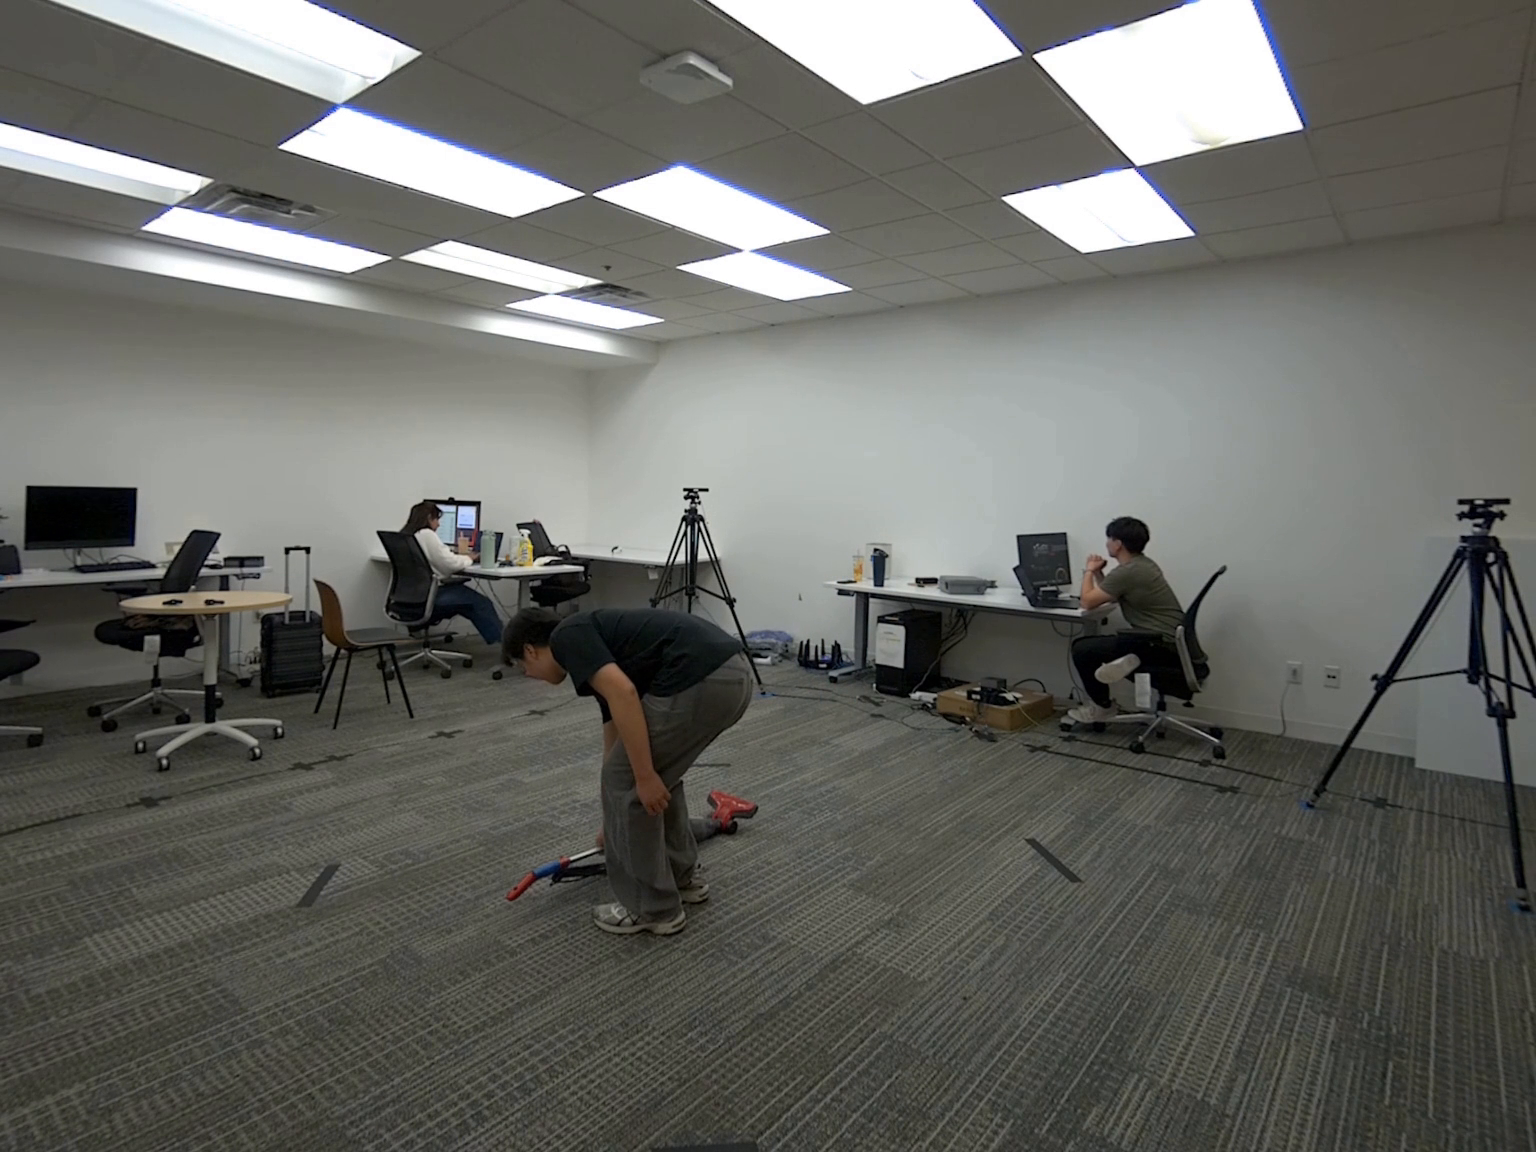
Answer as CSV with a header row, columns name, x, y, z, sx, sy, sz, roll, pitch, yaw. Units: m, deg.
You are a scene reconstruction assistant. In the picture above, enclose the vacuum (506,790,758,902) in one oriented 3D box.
name,x,y,z,sx,sy,sz,roll,pitch,yaw
vacuum,-0.497,1.006,3.125,0.261,0.143,1.018,6,7,42
